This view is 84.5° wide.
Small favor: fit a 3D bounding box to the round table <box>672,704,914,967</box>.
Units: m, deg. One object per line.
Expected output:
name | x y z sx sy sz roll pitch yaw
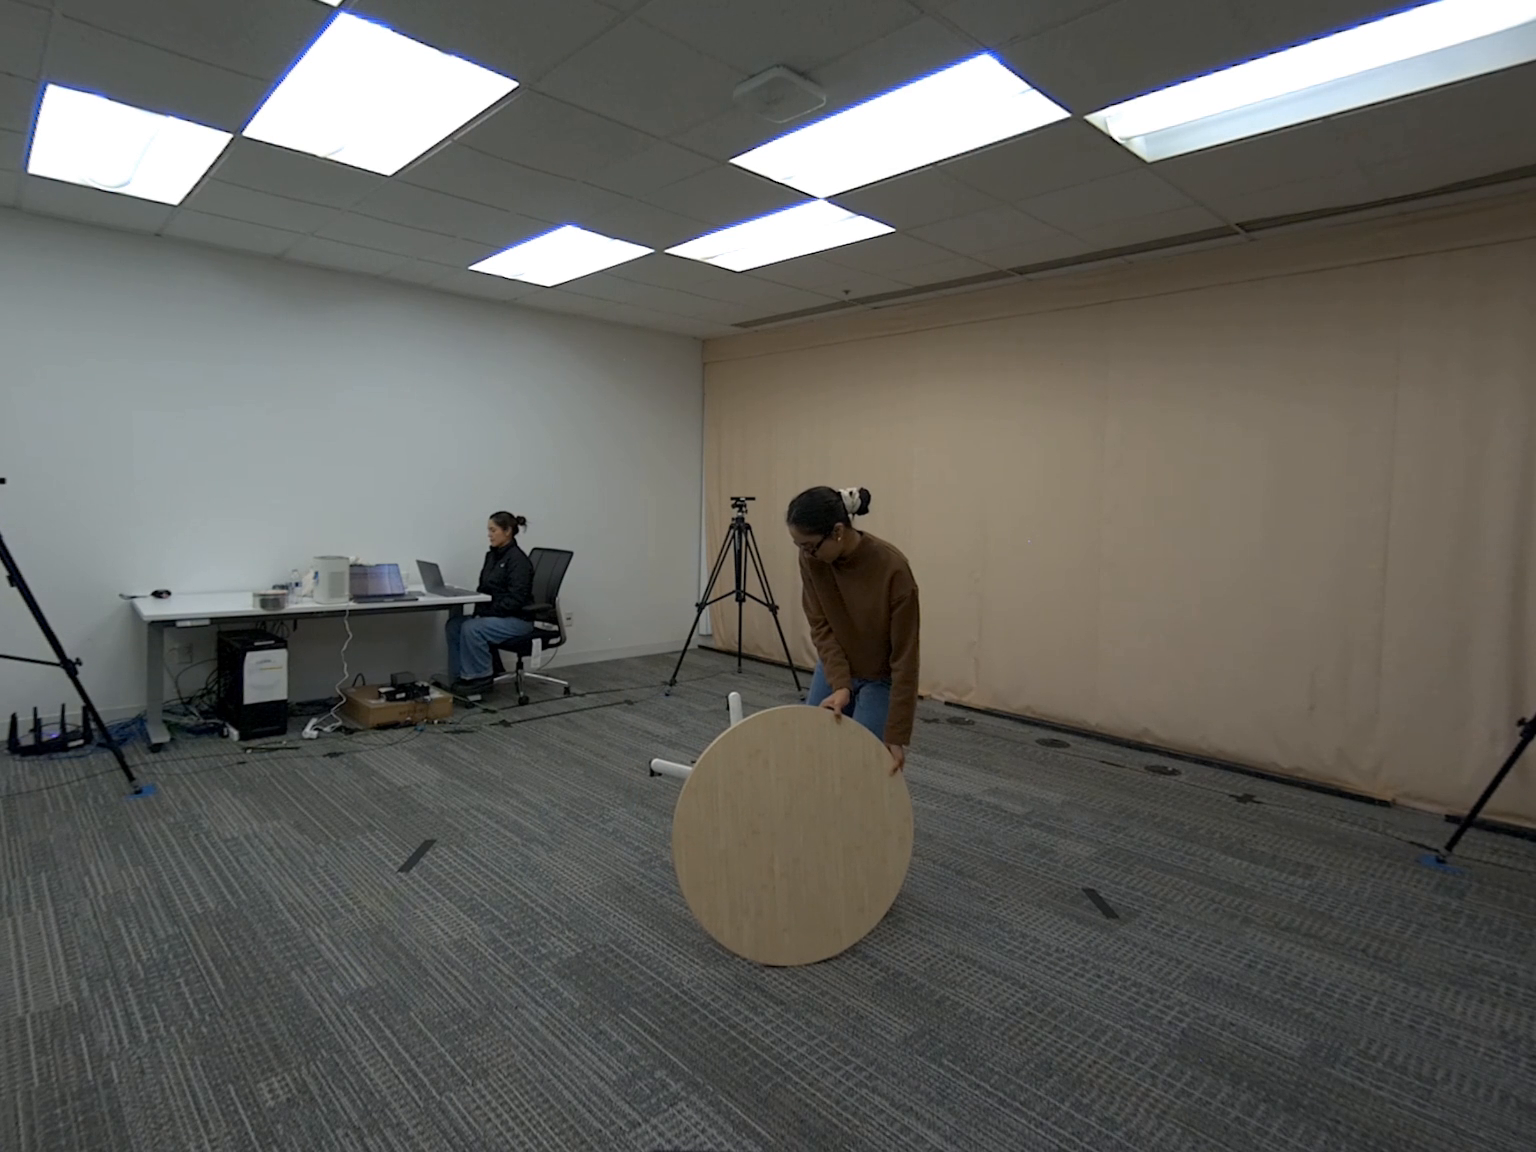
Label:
round table | -0.022 0.802 2.923 0.755 0.766 0.801 0 -2 -15
